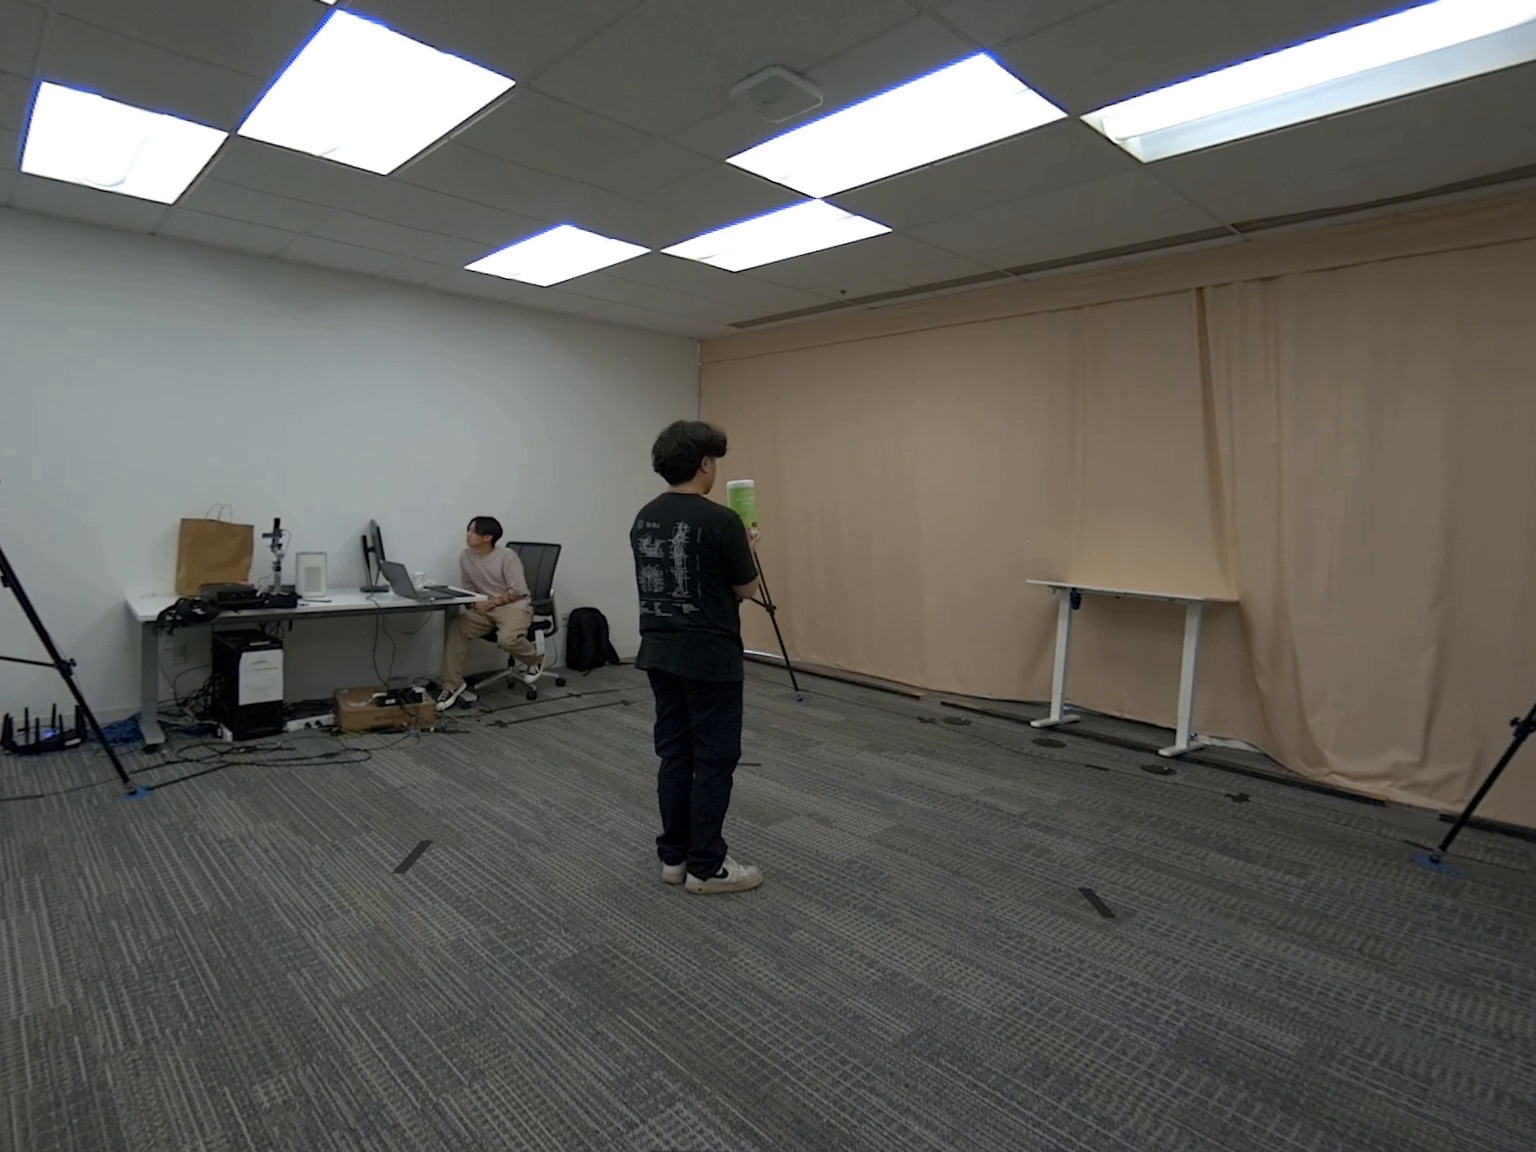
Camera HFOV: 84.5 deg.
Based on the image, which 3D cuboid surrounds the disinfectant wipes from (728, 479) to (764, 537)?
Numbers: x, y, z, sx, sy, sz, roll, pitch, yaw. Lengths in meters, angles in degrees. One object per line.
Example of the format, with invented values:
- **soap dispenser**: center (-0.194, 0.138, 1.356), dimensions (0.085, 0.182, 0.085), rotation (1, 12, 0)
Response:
- **disinfectant wipes**: center (-0.090, -0.262, 3.306), dimensions (0.118, 0.217, 0.118), rotation (-5, 1, -1)
